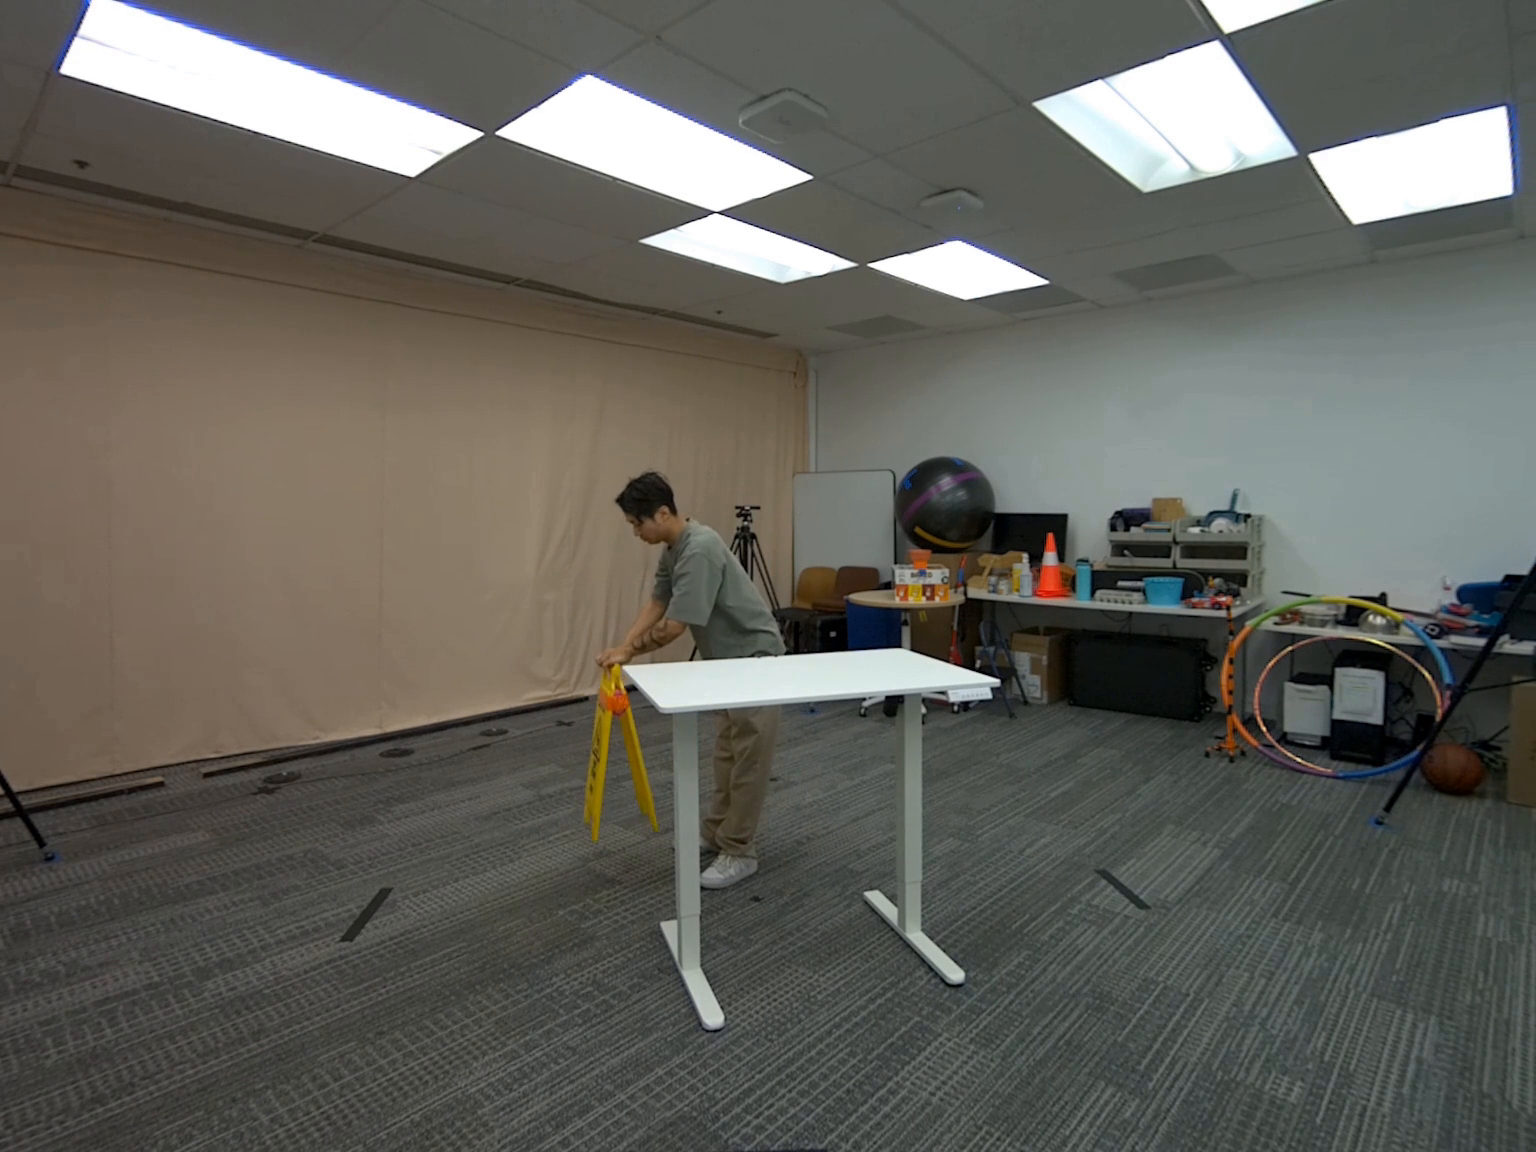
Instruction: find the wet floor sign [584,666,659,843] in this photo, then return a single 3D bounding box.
[{"bbox_3d":[-0.588,0.640,3.234,0.284,0.645,0.288,-4,3,-20],"label":"wet floor sign"}]
